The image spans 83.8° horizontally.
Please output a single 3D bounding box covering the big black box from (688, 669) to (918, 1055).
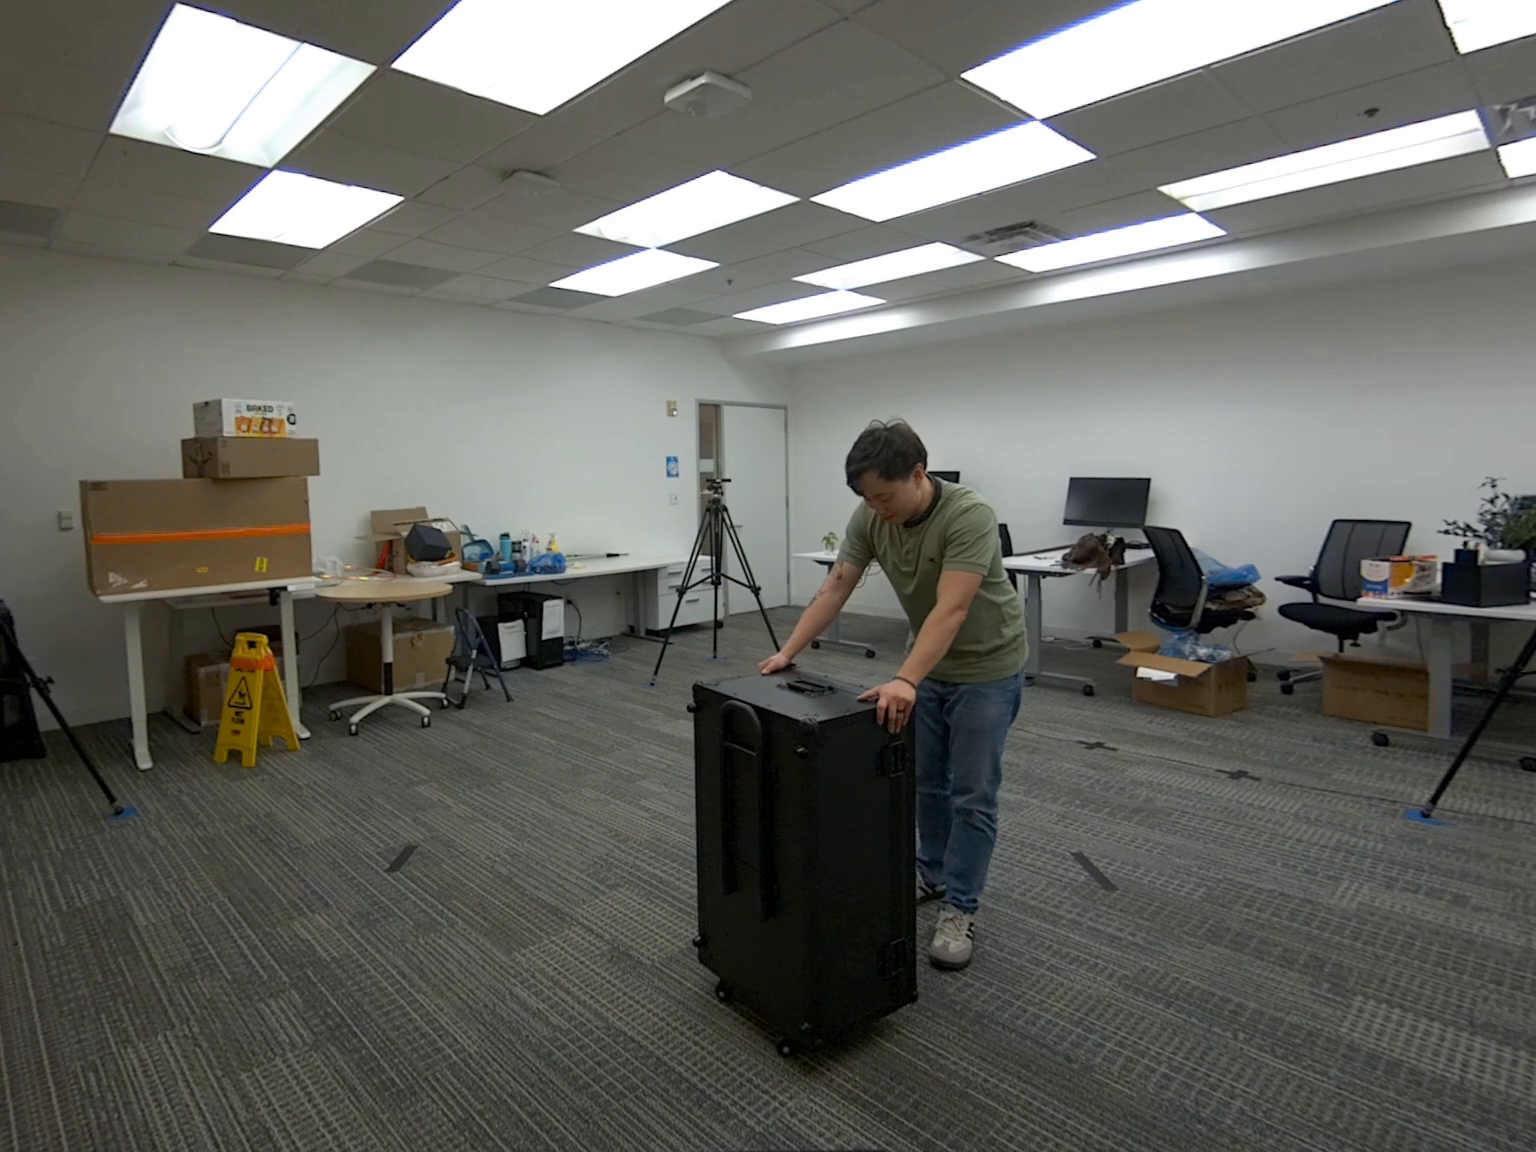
[{"bbox_3d":[0.091,0.721,2.224,0.386,0.858,0.537,-5,6,-36],"label":"big black box"}]
